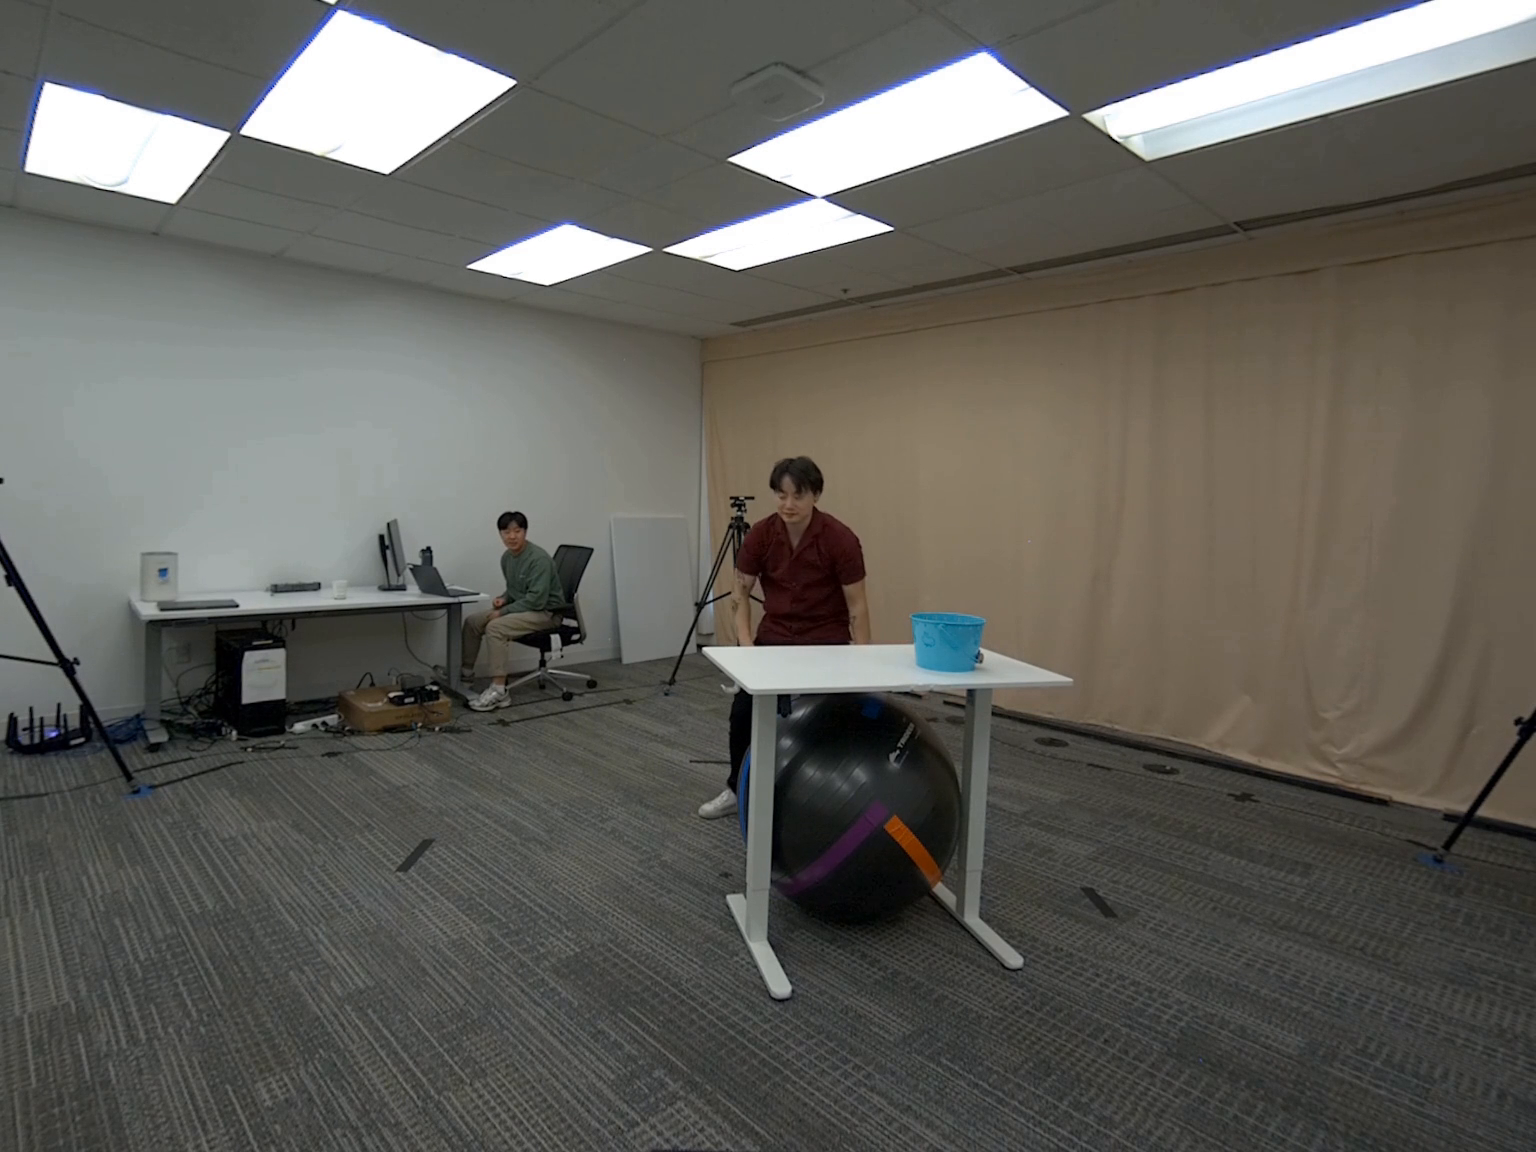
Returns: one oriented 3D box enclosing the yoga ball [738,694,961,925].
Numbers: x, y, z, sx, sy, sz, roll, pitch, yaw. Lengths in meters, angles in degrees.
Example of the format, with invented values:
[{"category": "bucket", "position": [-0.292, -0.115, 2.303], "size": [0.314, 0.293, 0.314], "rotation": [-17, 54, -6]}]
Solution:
[{"category": "yoga ball", "position": [0.268, 0.764, 2.864], "size": [0.757, 0.756, 0.760], "rotation": [1, 4, -1]}]
